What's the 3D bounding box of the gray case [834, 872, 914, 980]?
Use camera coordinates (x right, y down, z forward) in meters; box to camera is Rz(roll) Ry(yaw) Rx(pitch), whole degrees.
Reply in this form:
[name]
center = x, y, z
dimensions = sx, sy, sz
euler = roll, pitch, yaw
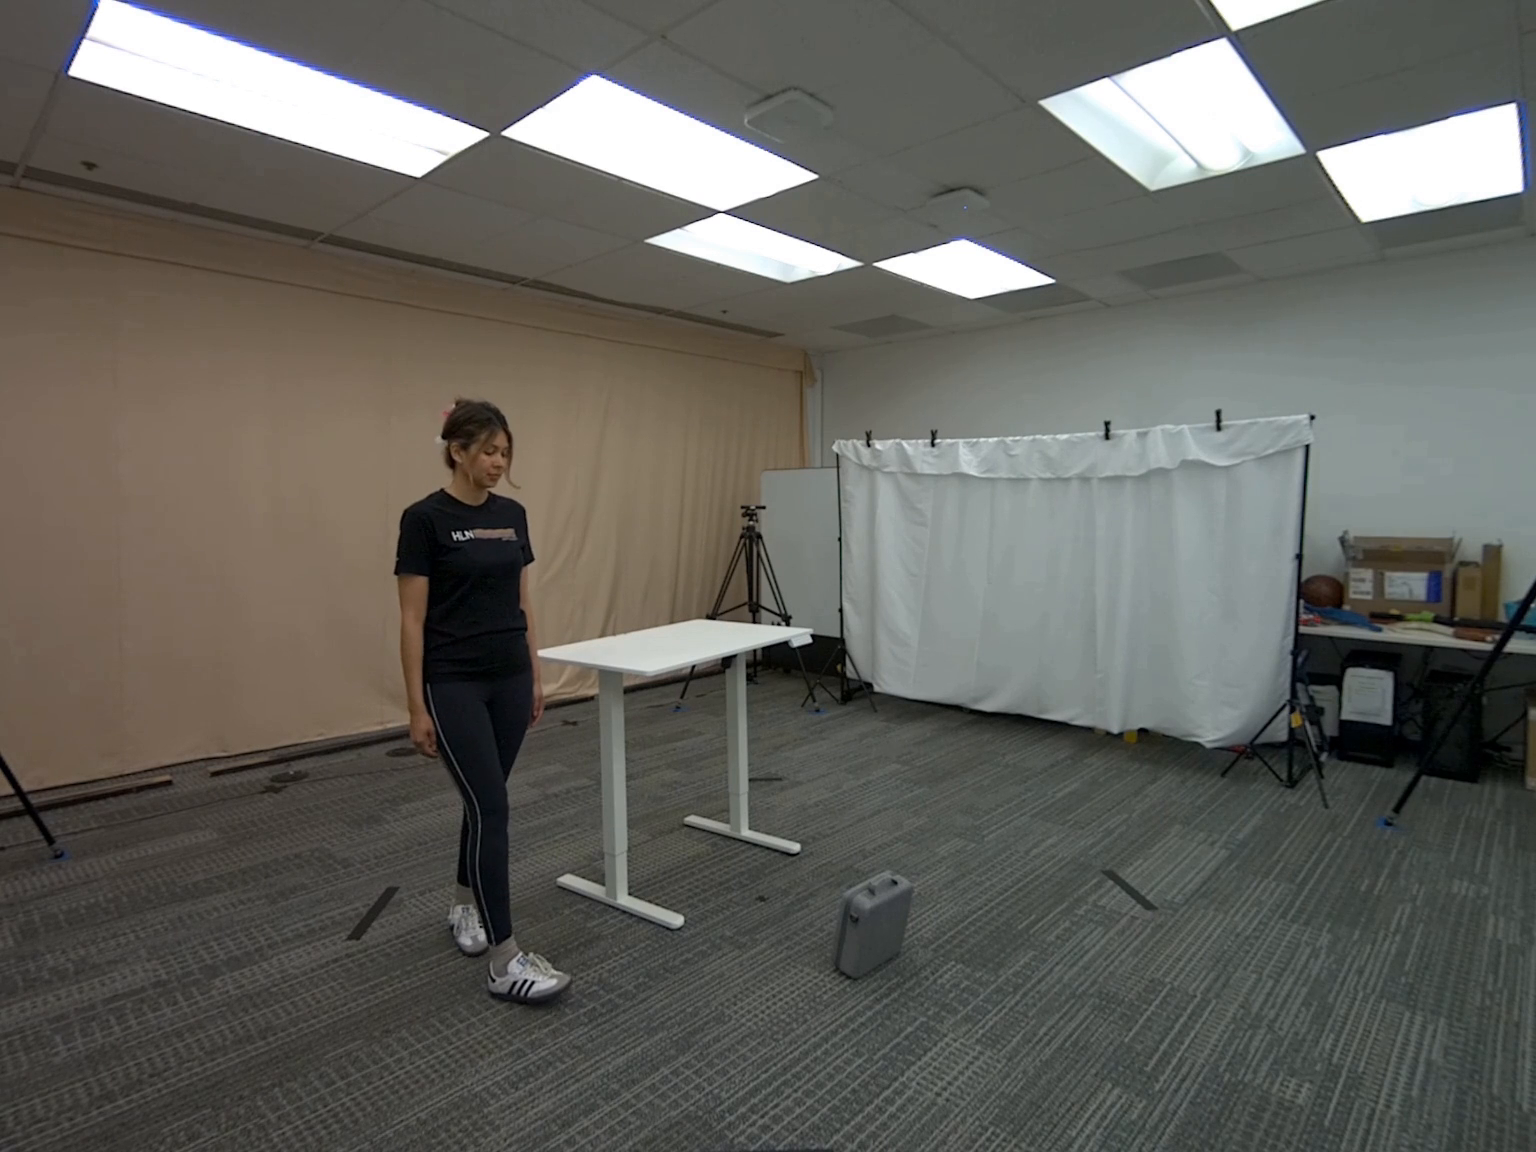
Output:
[gray case]
center = 0.326, 1.050, 2.542
dimensions = 0.249, 0.259, 0.108
euler = -3, 16, -42
